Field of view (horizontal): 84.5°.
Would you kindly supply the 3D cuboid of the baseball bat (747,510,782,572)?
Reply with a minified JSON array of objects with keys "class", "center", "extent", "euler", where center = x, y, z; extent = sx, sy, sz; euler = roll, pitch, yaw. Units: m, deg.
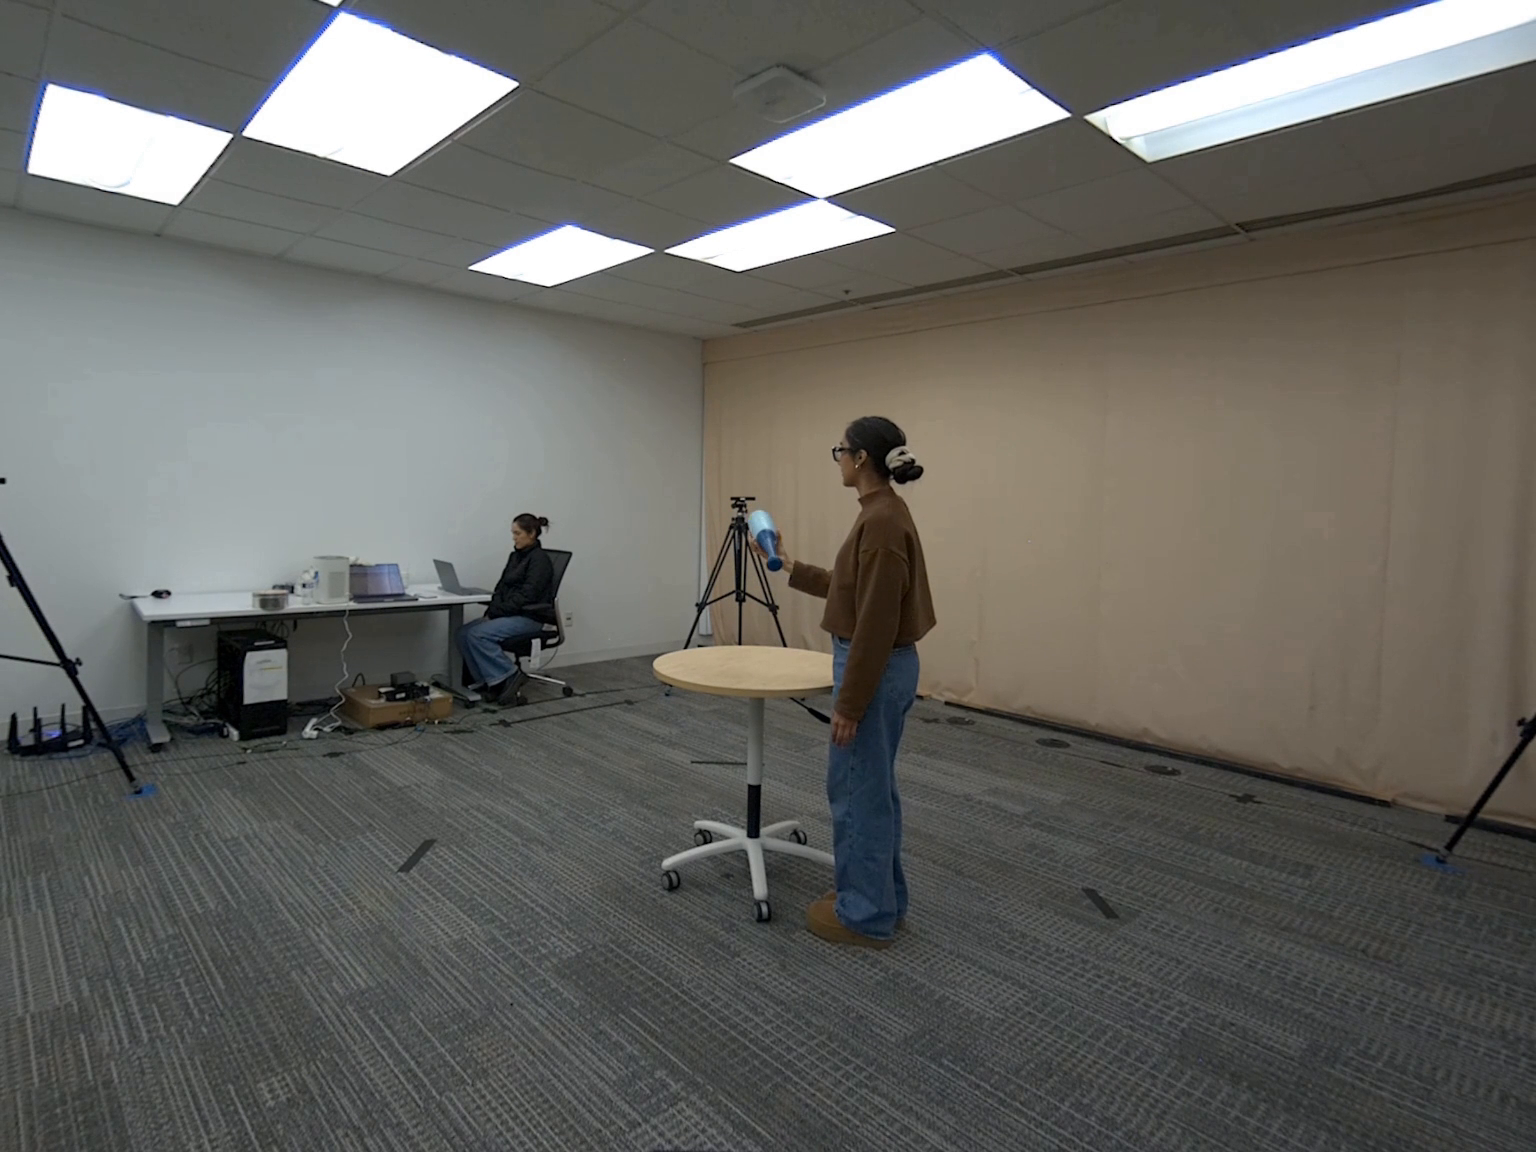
[{"class":"baseball bat","center":[-0.012,-0.113,2.847],"extent":[0.089,0.088,0.551],"euler":[1,19,-4]}]
